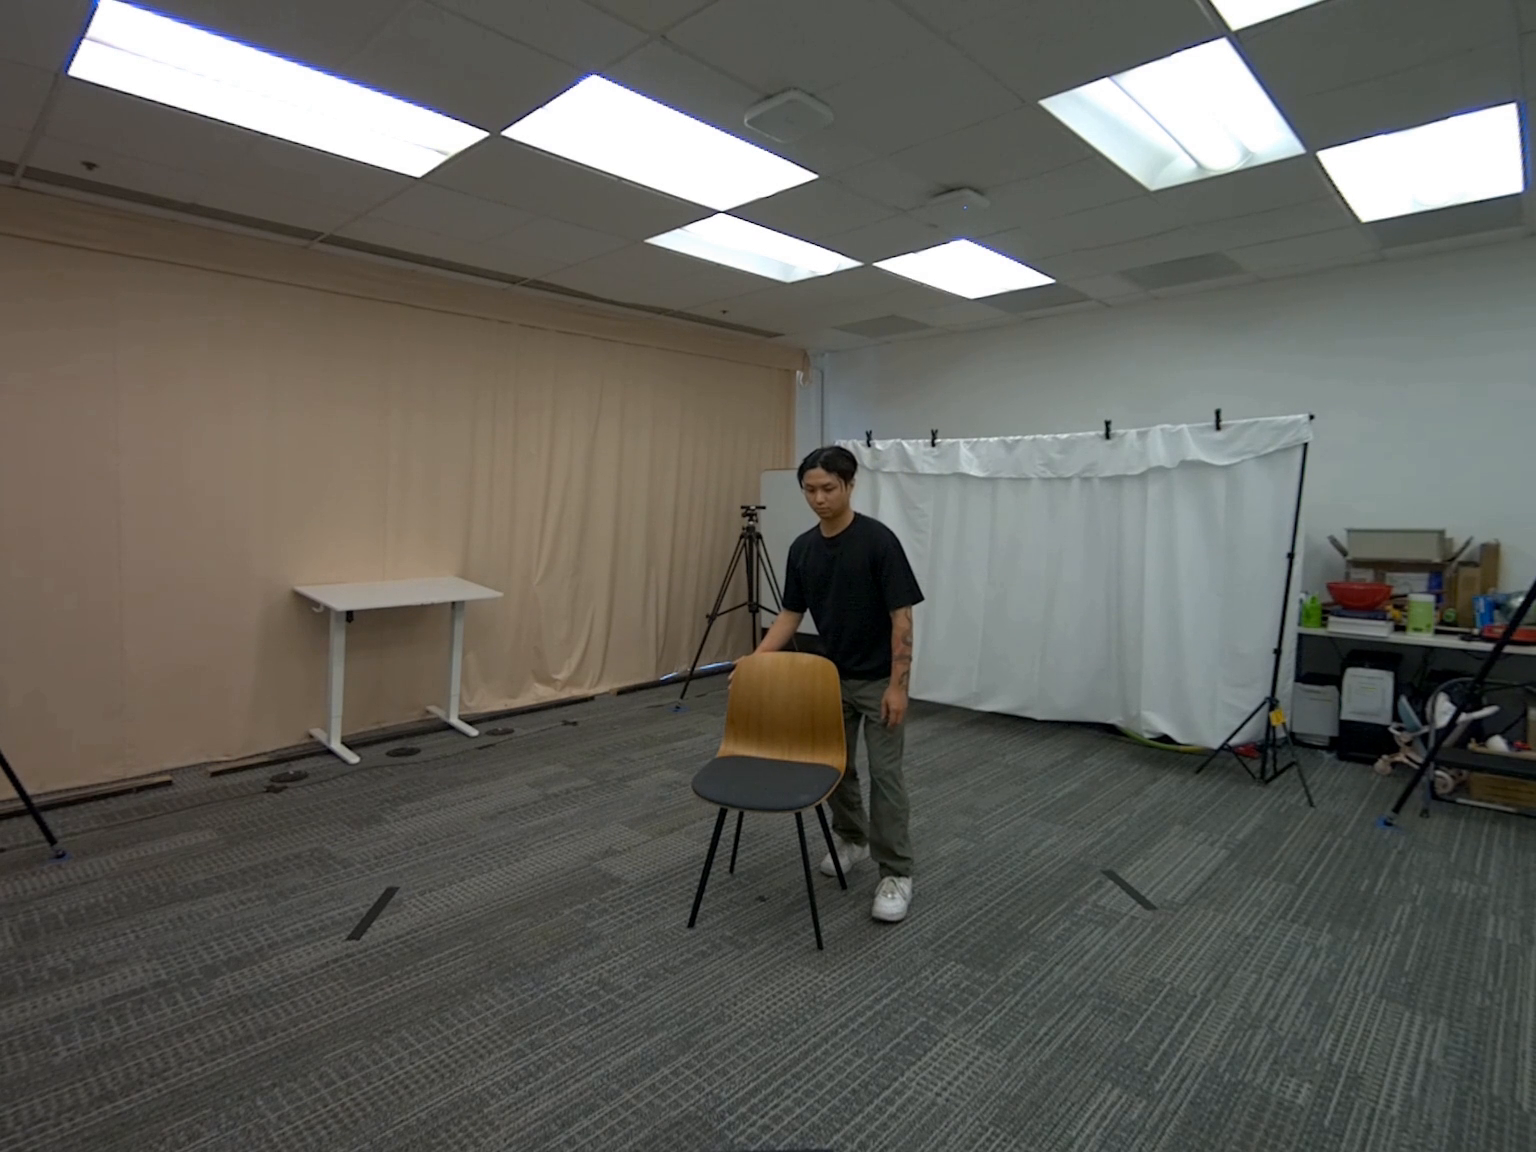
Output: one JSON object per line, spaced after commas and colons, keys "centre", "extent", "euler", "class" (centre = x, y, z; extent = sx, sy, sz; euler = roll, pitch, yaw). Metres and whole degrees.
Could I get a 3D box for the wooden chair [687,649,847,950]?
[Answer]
{"centre": [0.013, 0.726, 2.879], "extent": [0.487, 0.878, 0.513], "euler": [1, -1, 17], "class": "wooden chair"}
